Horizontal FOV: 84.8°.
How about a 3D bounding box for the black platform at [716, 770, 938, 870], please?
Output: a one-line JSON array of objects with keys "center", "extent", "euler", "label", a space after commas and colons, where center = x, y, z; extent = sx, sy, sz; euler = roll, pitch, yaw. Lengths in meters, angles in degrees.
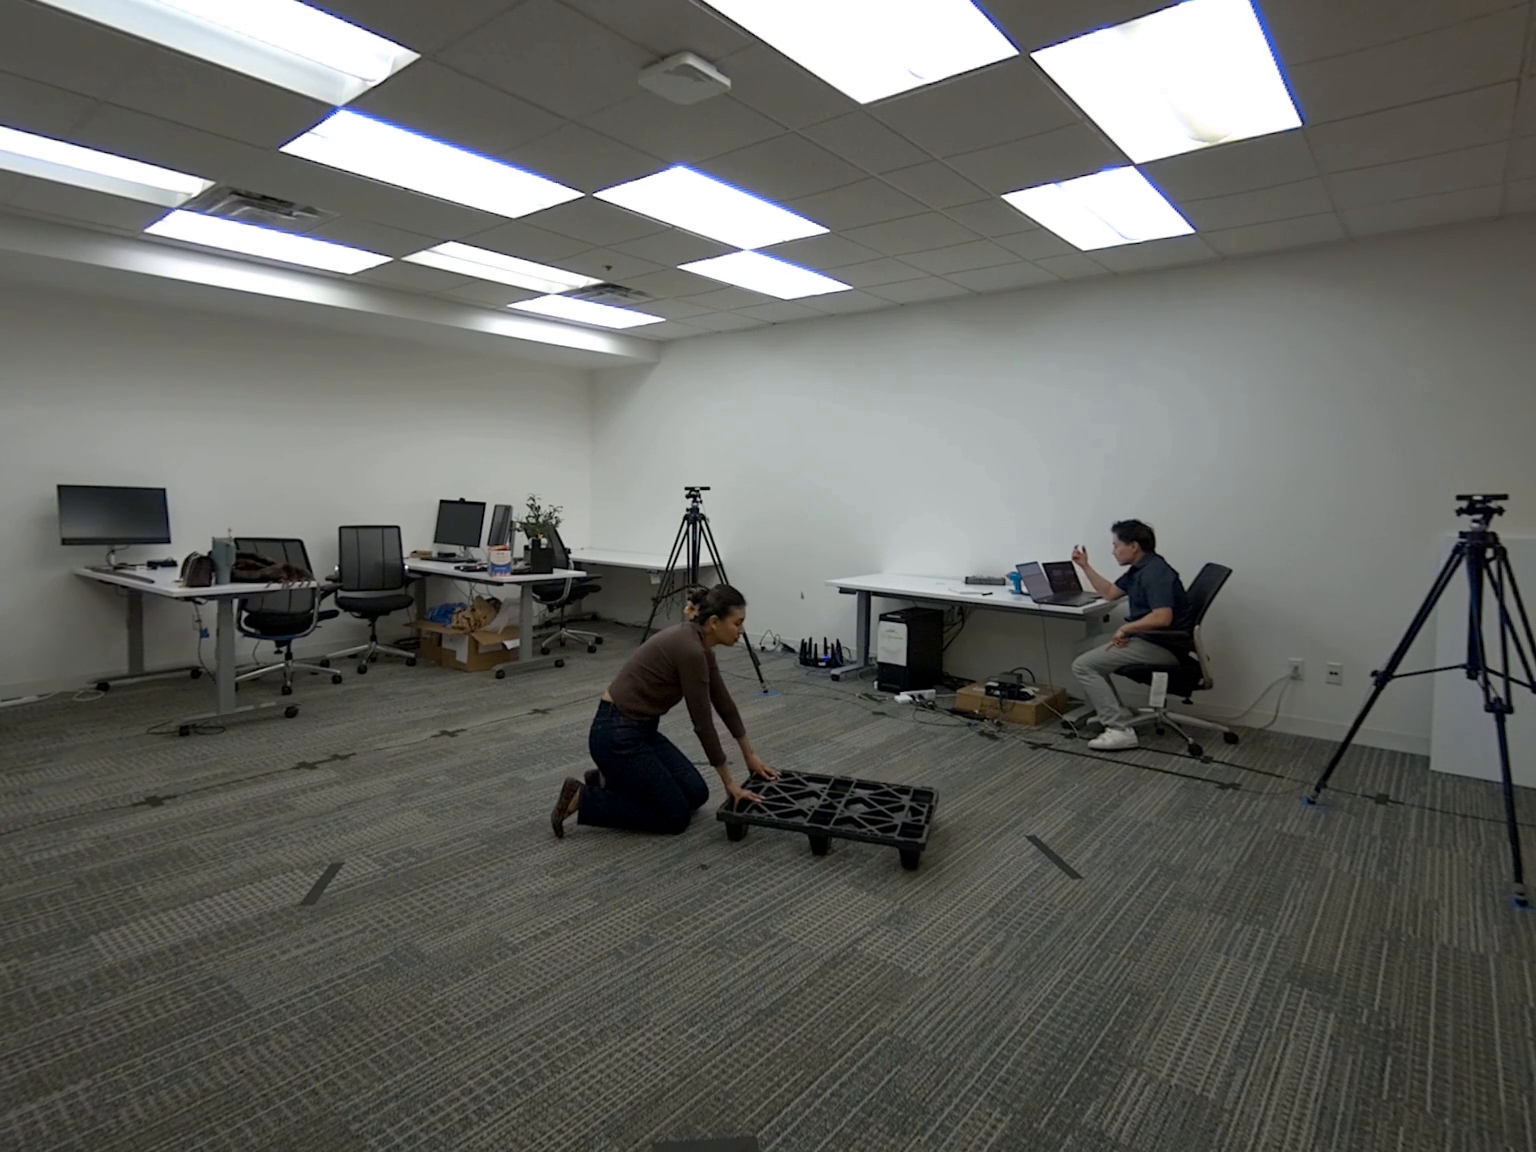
[{"center": [0.243, 0.973, 3.458], "extent": [0.822, 0.143, 0.595], "euler": [3, 5, 18], "label": "black platform"}]
